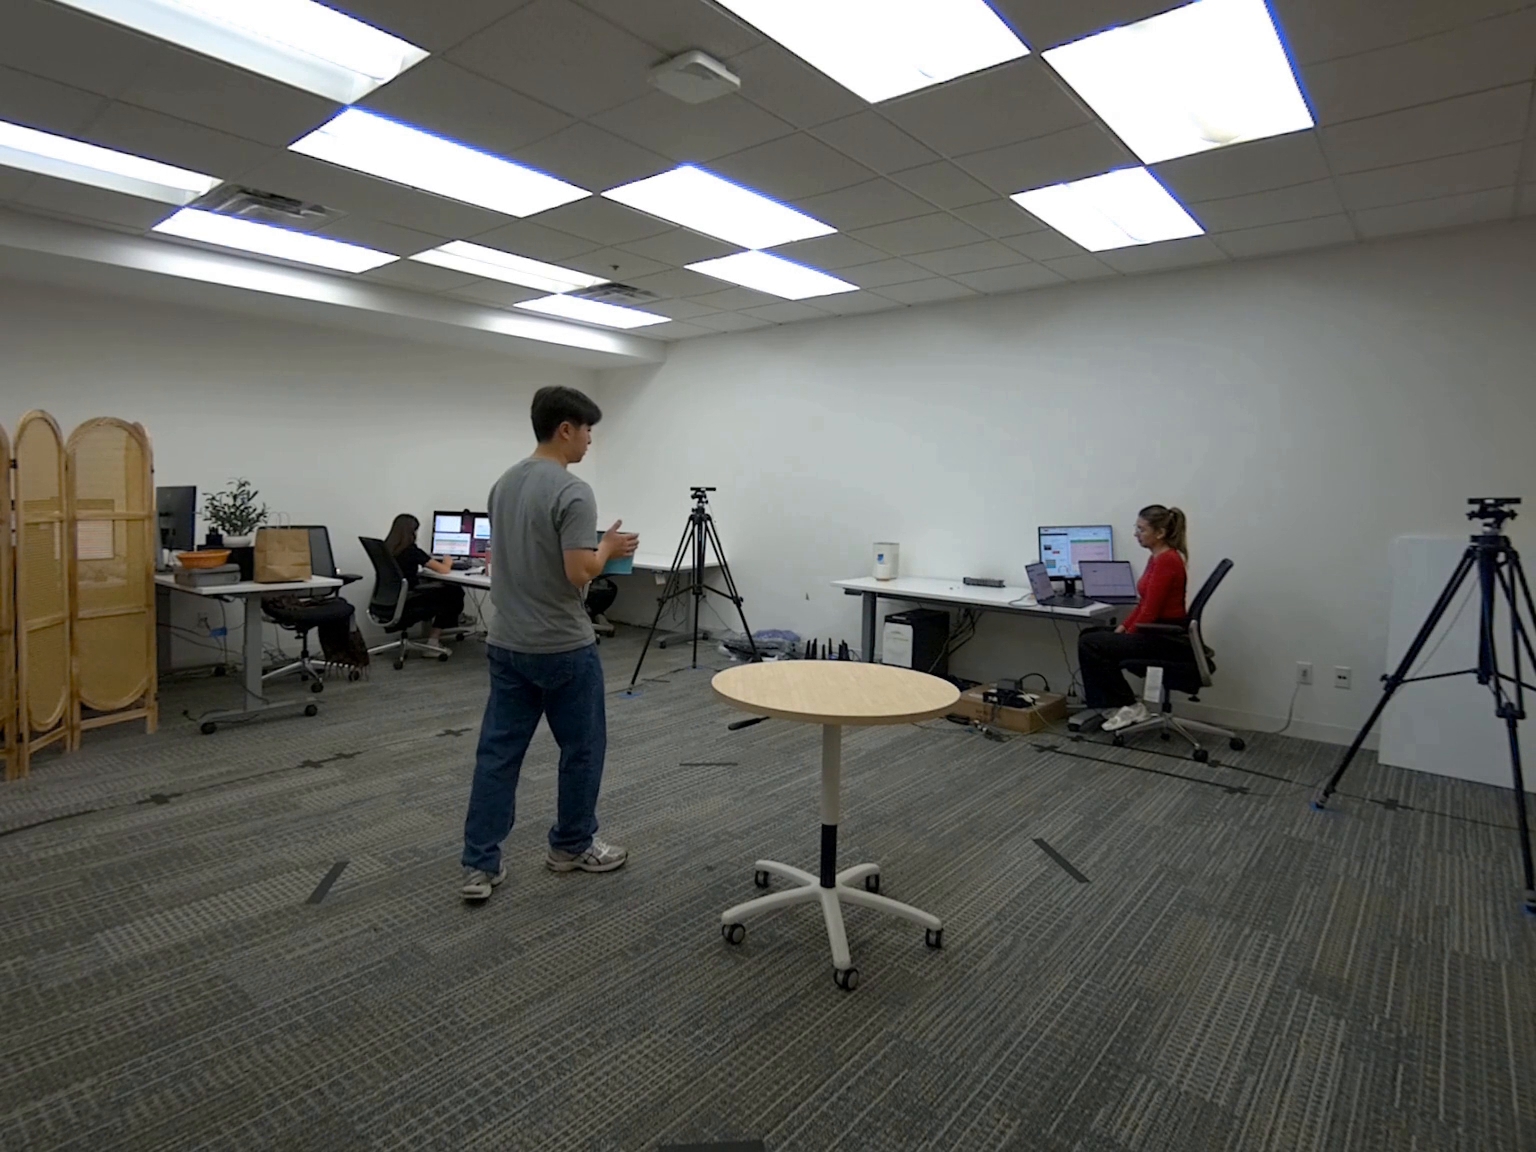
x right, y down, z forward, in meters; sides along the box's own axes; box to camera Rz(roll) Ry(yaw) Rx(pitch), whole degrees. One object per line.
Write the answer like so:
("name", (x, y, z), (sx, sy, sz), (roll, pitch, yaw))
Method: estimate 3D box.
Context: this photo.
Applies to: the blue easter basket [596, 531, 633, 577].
("blue easter basket", (-0.617, -0.088, 3.145), (0.243, 0.156, 0.244), (0, 2, -2))
